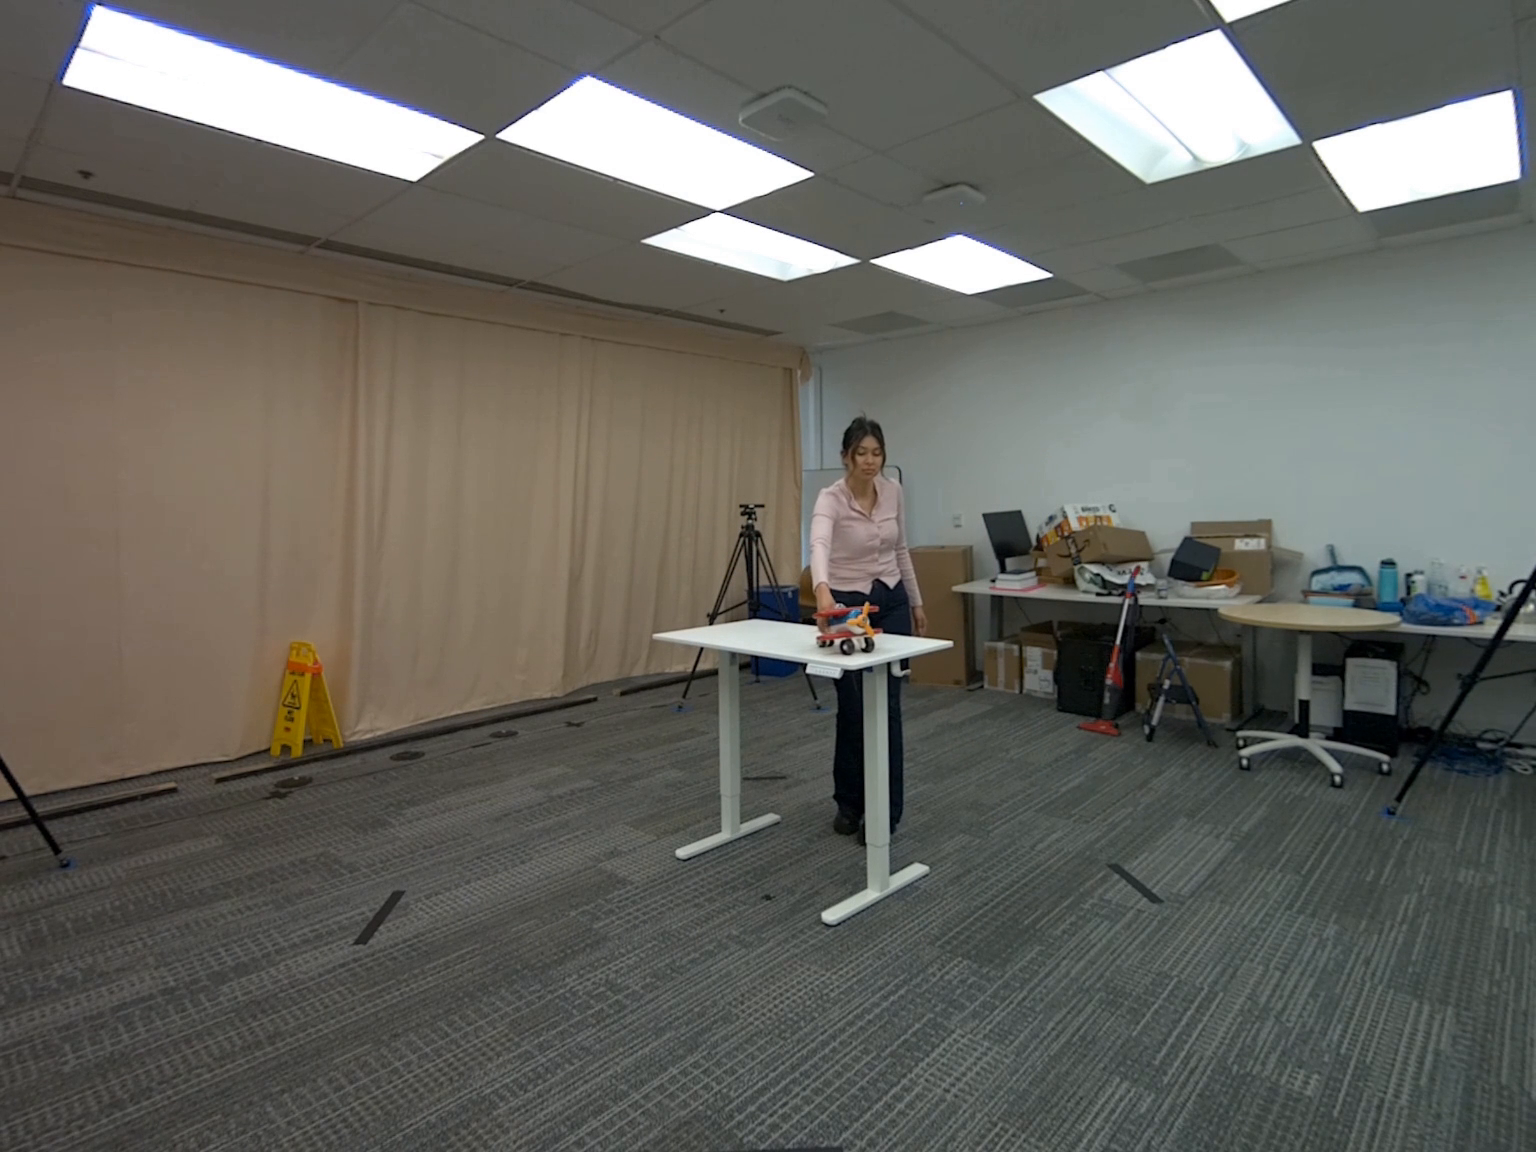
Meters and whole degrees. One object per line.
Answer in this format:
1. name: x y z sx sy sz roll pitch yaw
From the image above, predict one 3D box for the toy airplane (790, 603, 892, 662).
1. toy airplane: 0.250 0.180 2.886 0.267 0.156 0.244 2 4 32
